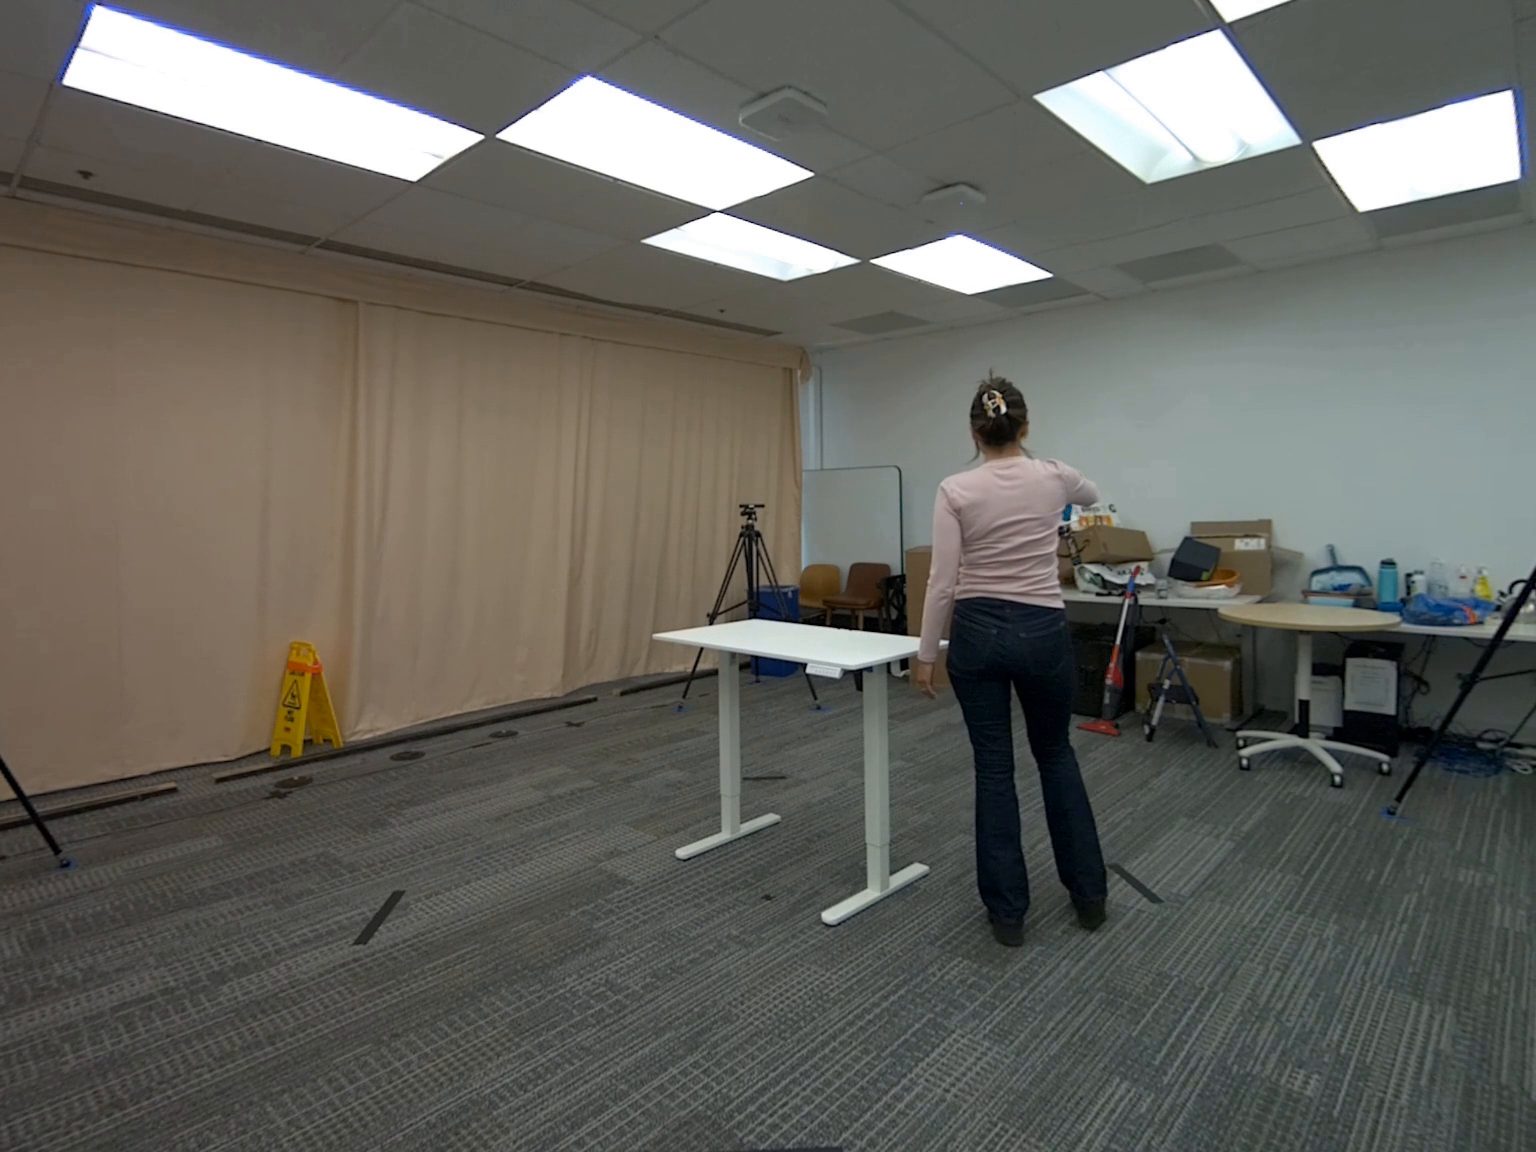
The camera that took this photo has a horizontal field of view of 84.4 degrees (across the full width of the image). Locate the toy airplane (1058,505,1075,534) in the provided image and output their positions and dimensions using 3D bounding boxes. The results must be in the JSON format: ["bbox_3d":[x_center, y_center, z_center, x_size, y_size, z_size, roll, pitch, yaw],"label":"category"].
[{"bbox_3d":[1.076,-0.254,3.241,0.266,0.154,0.247,3,22,28],"label":"toy airplane"}]
